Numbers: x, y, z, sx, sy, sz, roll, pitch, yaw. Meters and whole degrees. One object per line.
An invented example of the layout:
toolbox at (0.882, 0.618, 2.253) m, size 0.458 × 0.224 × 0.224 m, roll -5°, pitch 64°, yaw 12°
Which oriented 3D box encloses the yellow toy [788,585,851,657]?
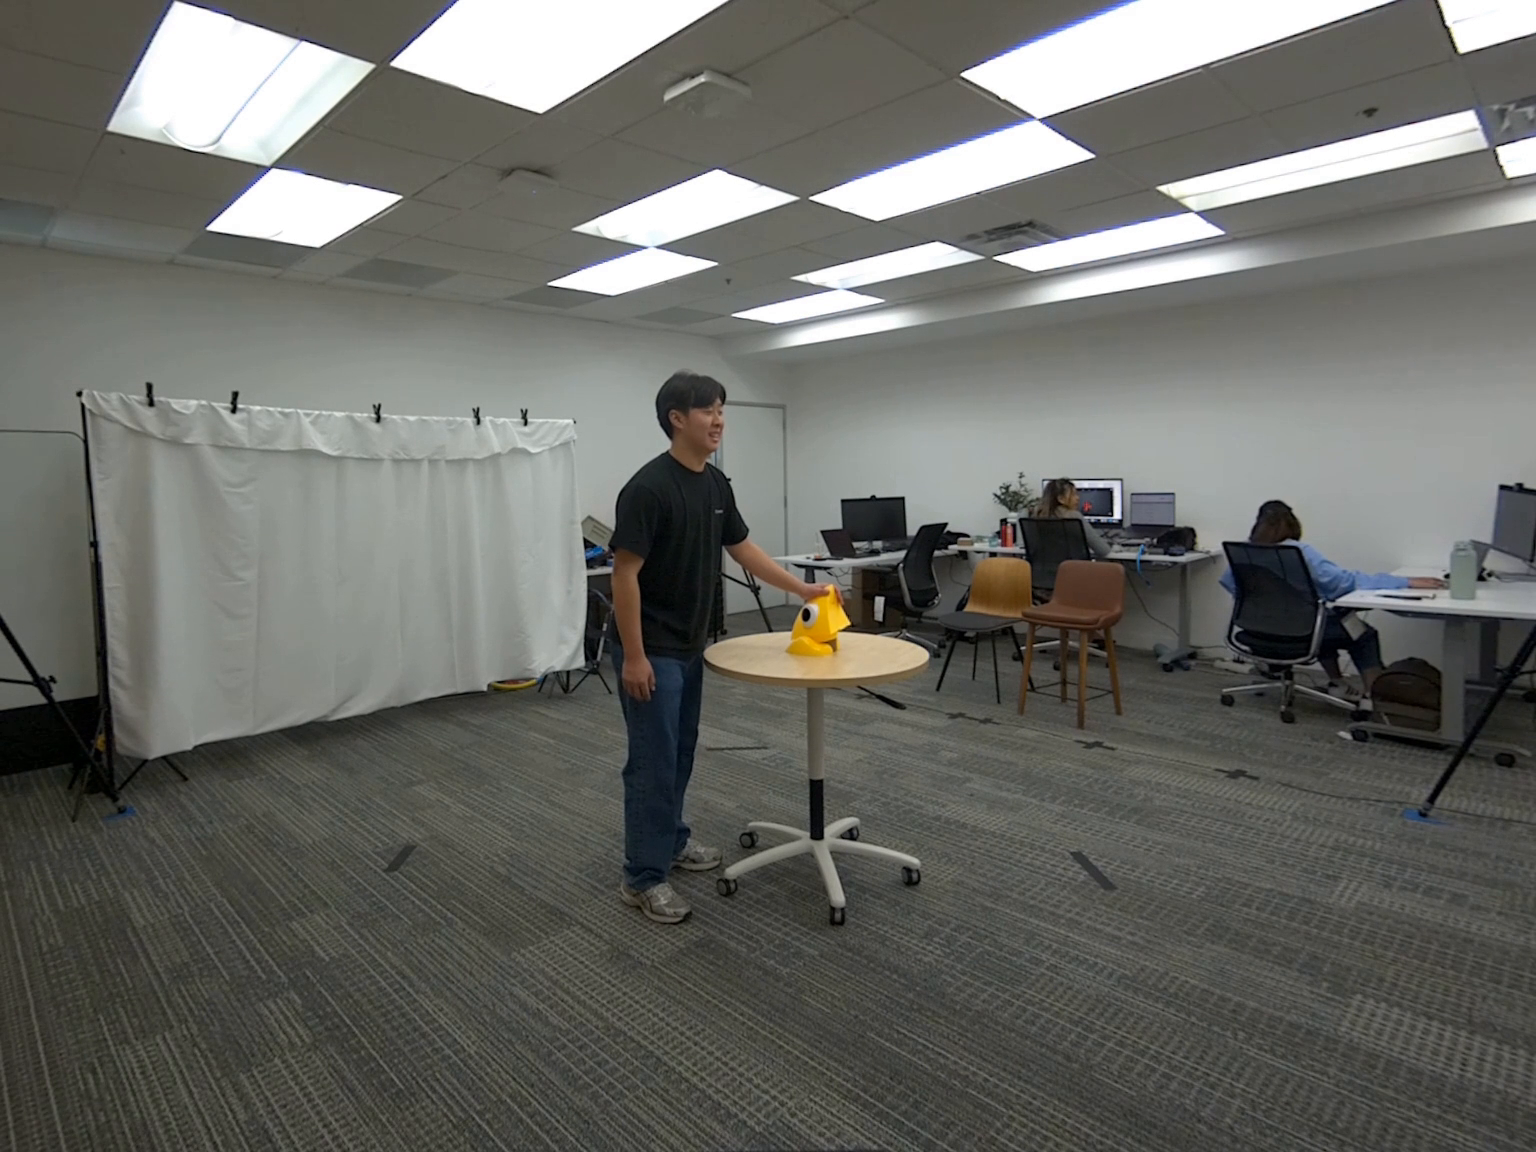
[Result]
yellow toy at (0.165, 0.143, 2.969) m, size 0.197 × 0.230 × 0.201 m, roll 1°, pitch 4°, yaw 25°
